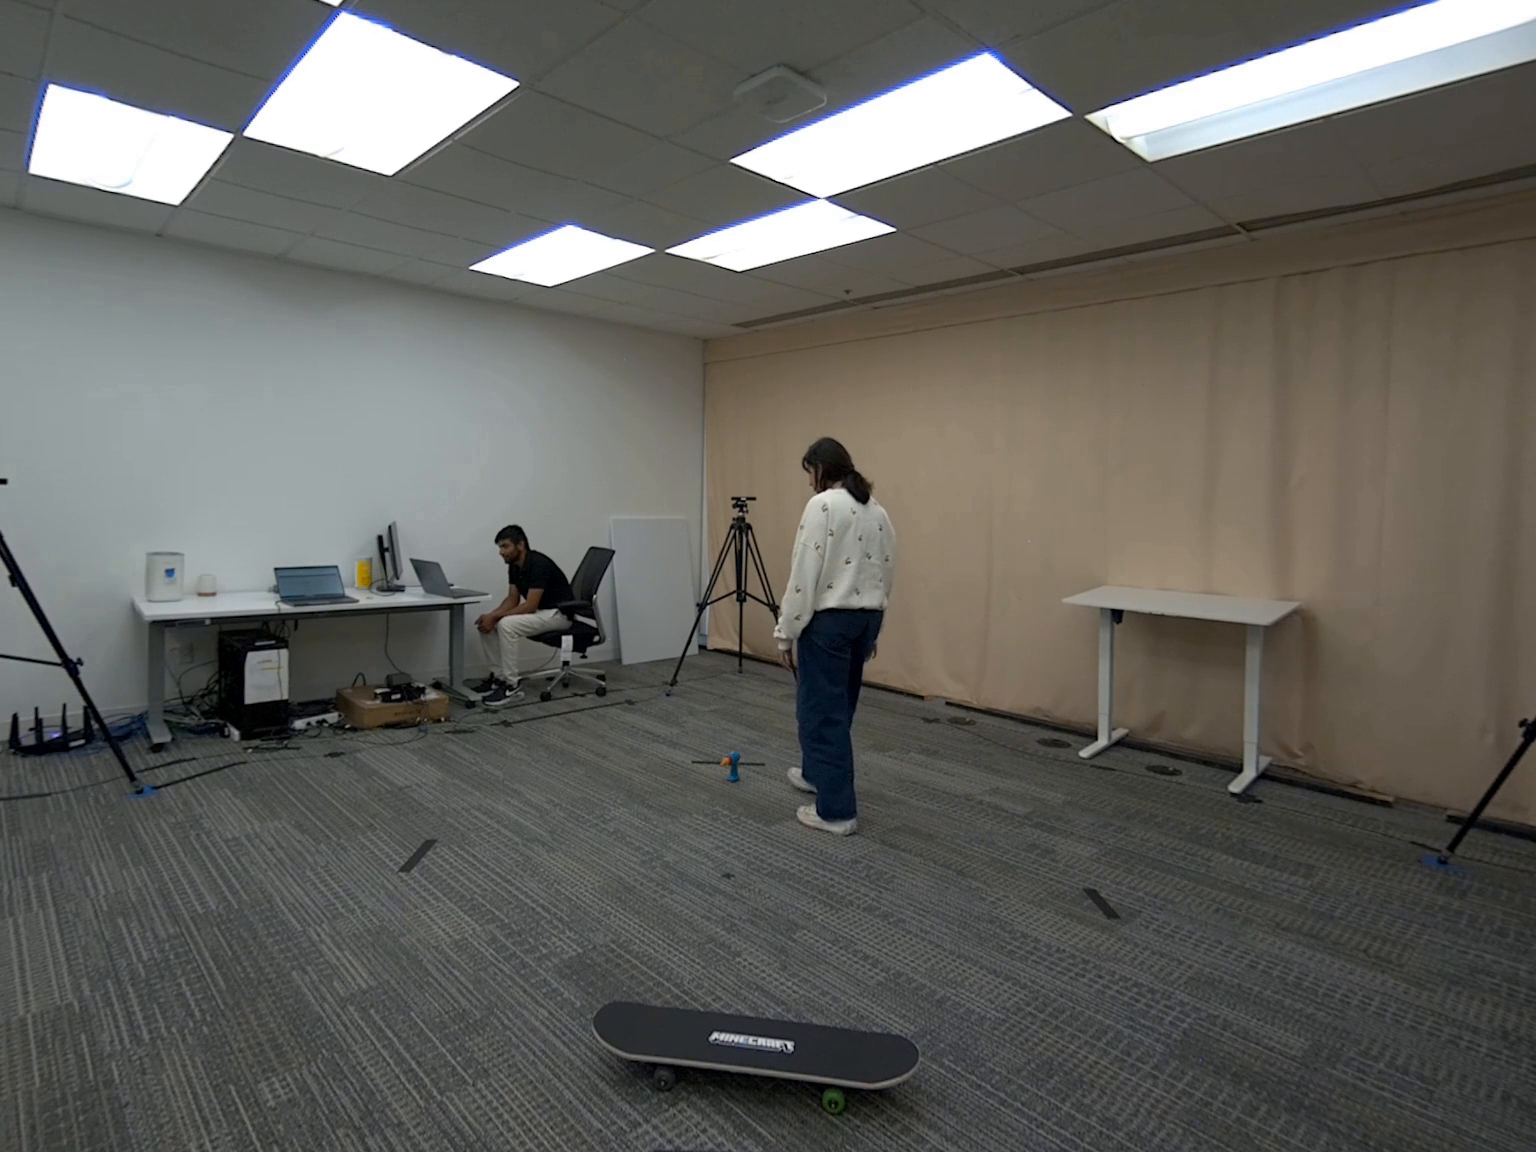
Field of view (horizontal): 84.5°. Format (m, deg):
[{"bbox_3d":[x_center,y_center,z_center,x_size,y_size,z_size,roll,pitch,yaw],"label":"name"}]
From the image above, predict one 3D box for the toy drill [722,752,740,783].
[{"bbox_3d":[-0.192,0.939,4.147,0.062,0.145,0.167,3,5,26],"label":"toy drill"}]
